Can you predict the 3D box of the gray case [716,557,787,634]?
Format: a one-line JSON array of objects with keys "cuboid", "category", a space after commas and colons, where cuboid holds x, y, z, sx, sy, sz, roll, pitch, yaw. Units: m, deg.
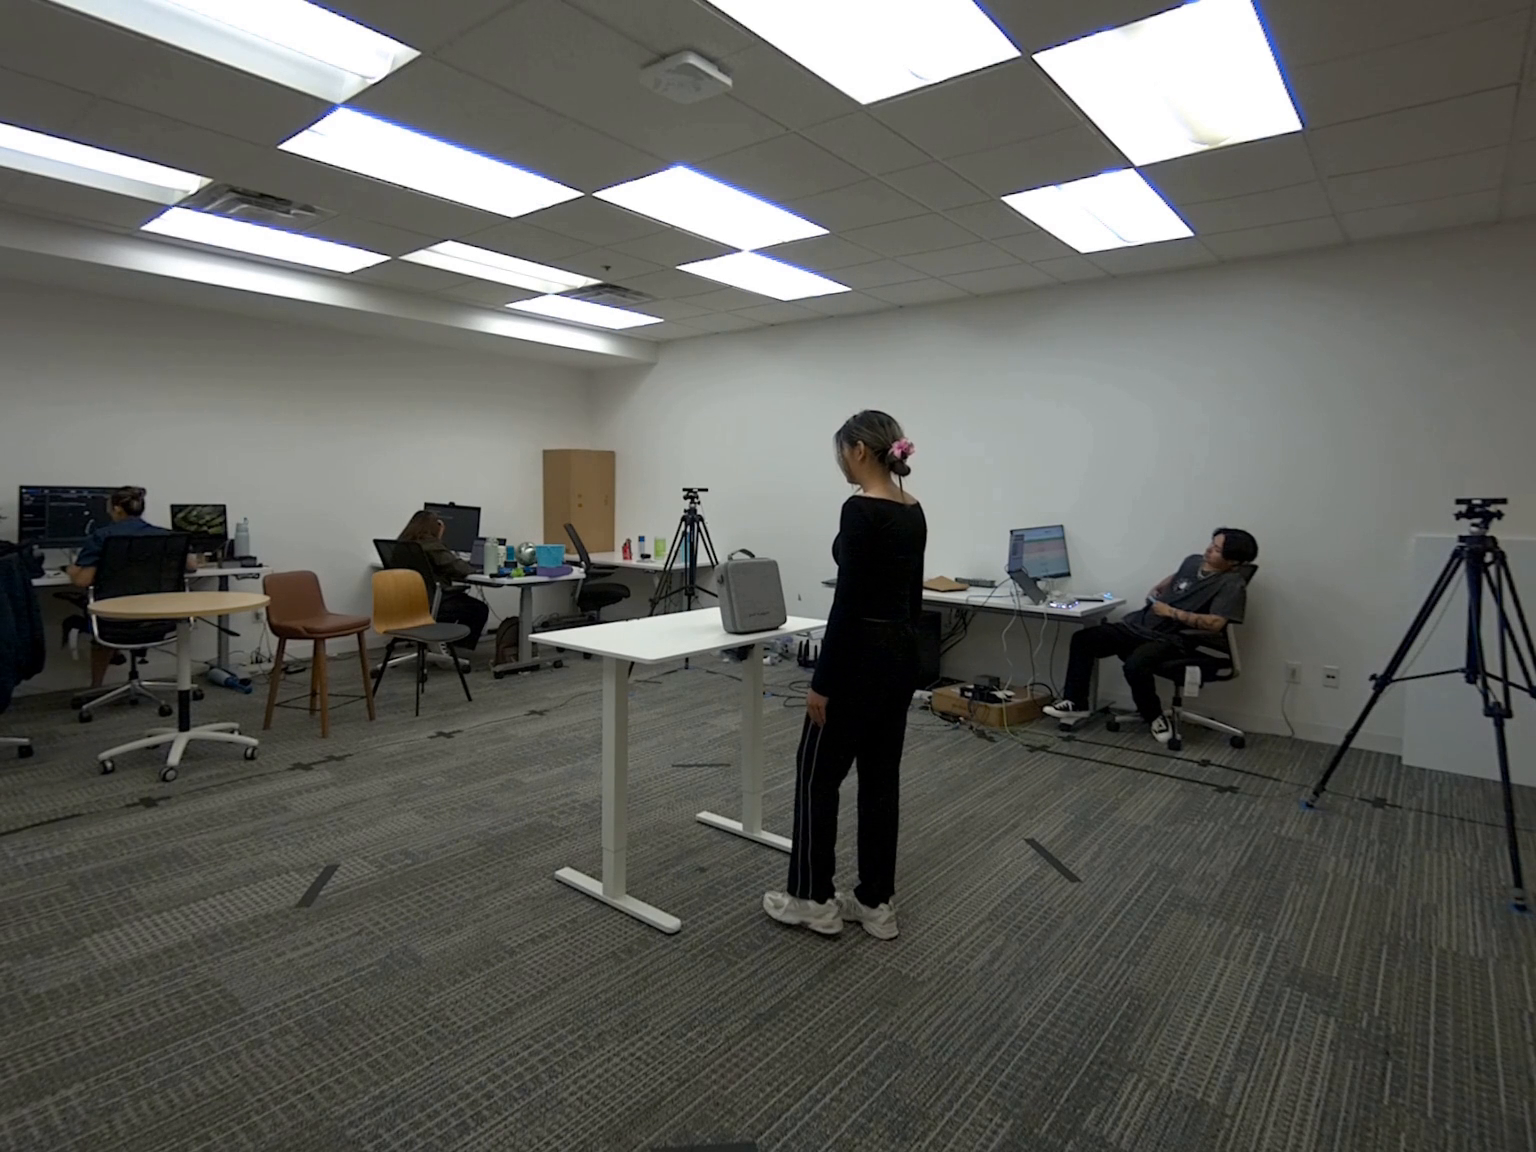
[{"cuboid": [-0.073, 0.063, 3.053, 0.249, 0.263, 0.107, -3, -9, -43], "category": "gray case"}]
